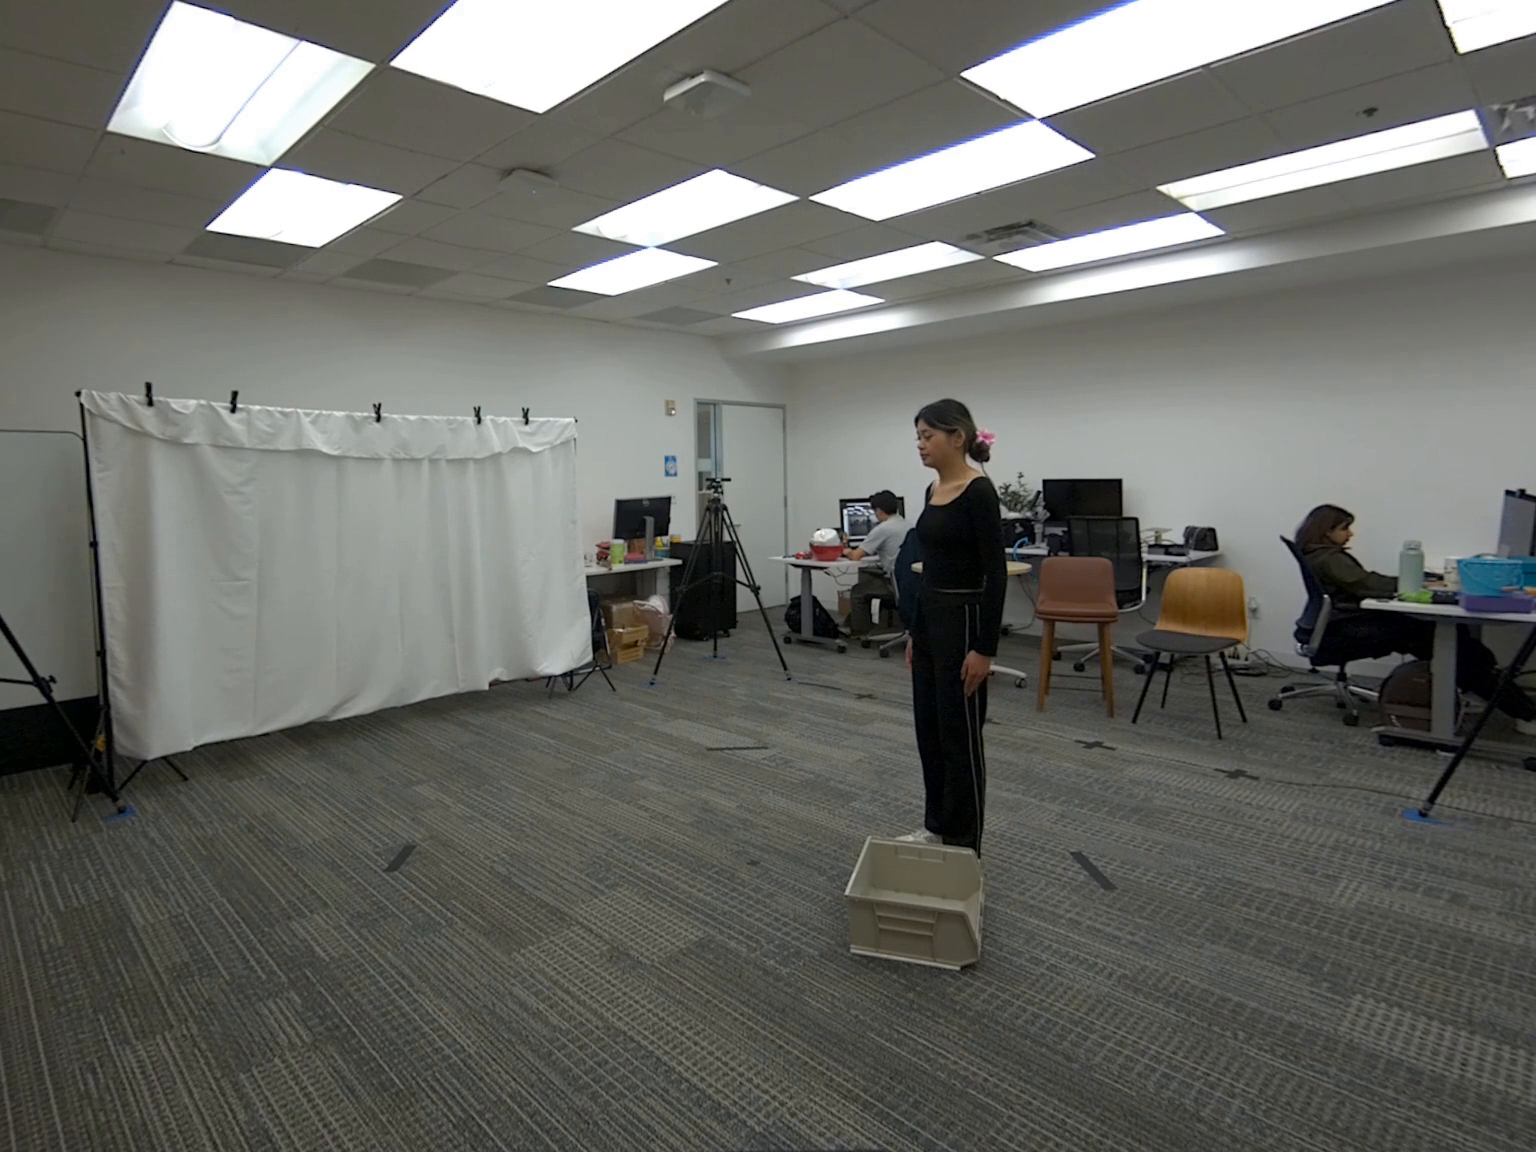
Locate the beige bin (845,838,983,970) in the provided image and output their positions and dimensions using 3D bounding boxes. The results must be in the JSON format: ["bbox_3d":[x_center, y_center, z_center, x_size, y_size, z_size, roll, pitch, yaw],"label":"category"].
[{"bbox_3d":[0.468,0.998,2.638,0.384,0.188,0.417,0,6,18],"label":"beige bin"}]
